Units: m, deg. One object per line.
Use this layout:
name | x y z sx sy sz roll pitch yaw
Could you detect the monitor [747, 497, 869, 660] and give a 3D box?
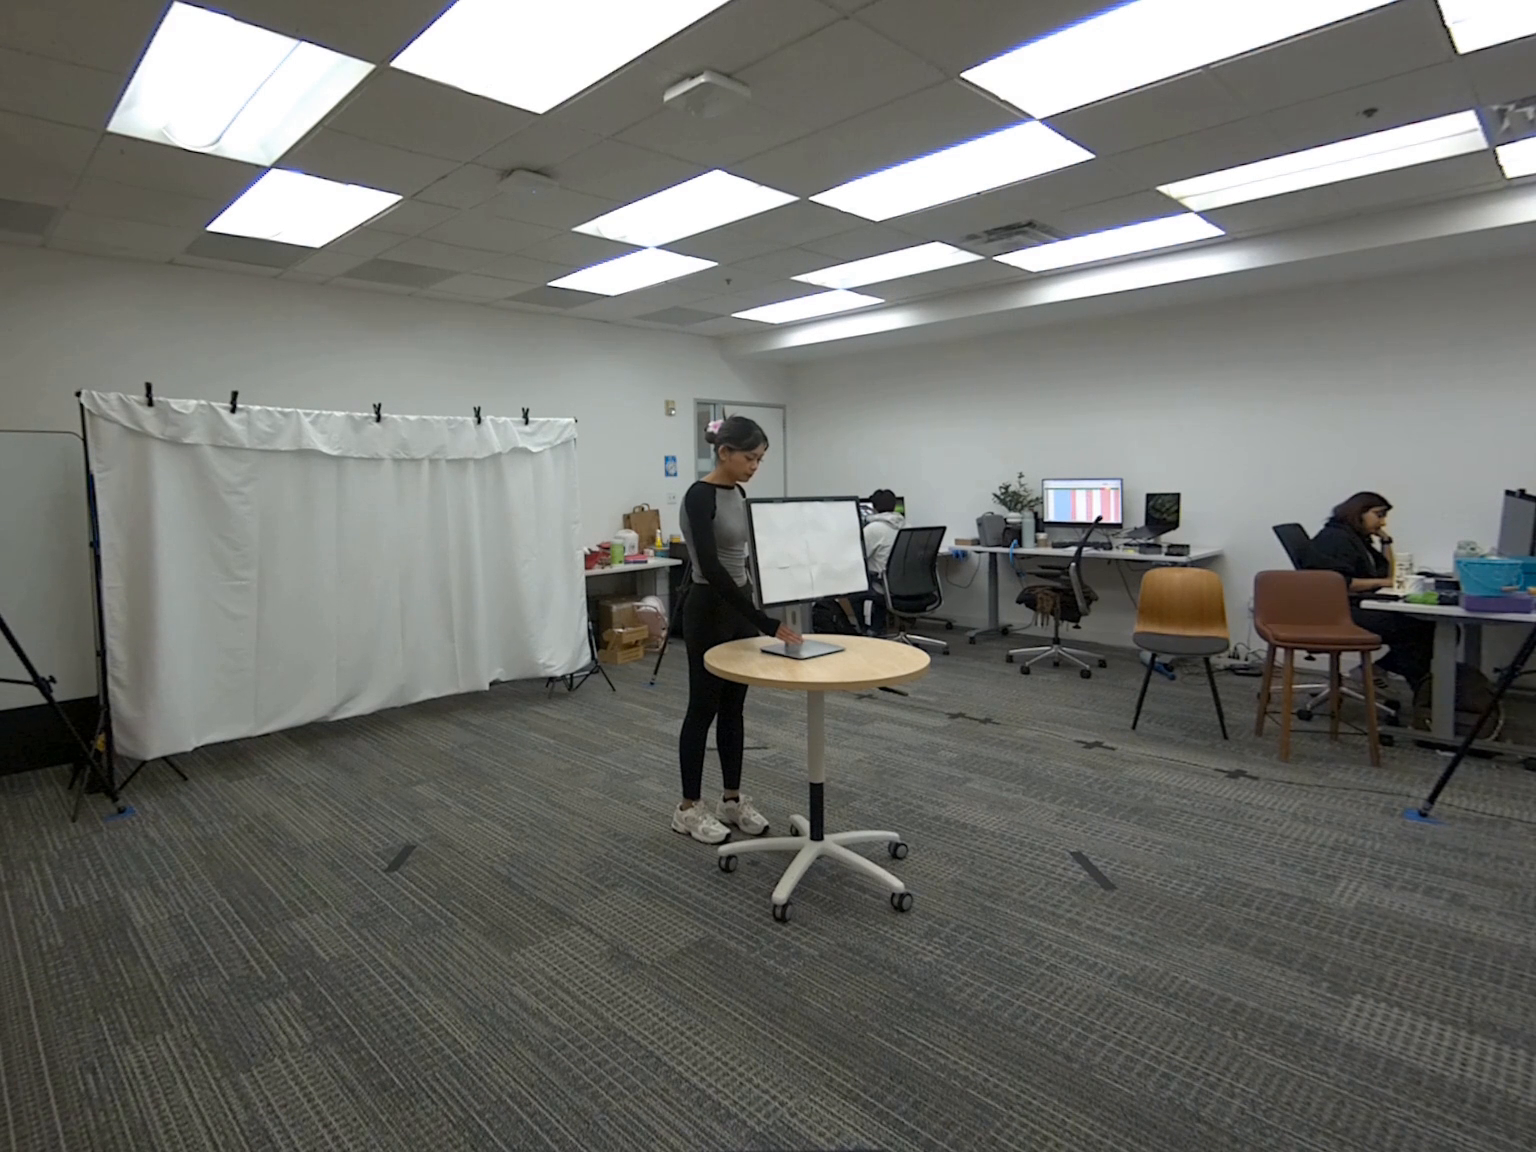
monitor | 0.120 -0.003 2.982 0.525 0.520 0.193 -5 8 -45
